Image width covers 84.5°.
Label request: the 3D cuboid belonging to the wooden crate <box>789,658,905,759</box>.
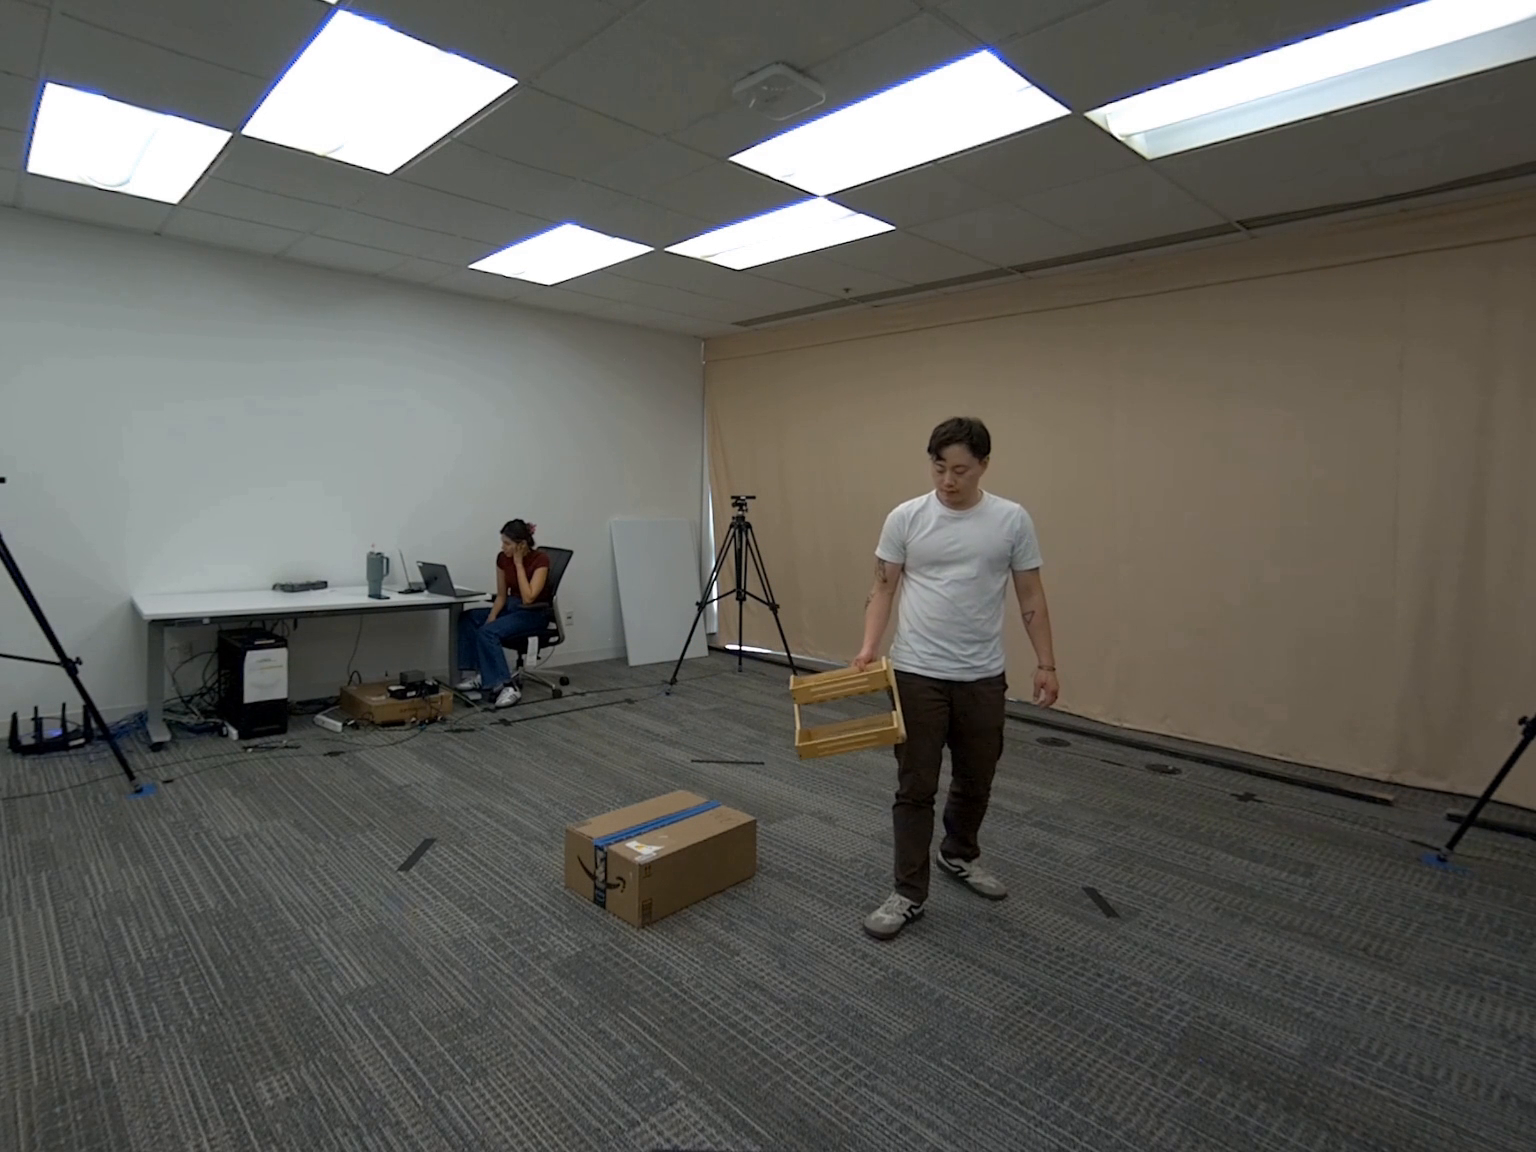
[{"bbox_3d":[0.235,0.402,2.575,0.326,0.277,0.296,-13,-14,9],"label":"wooden crate"}]
